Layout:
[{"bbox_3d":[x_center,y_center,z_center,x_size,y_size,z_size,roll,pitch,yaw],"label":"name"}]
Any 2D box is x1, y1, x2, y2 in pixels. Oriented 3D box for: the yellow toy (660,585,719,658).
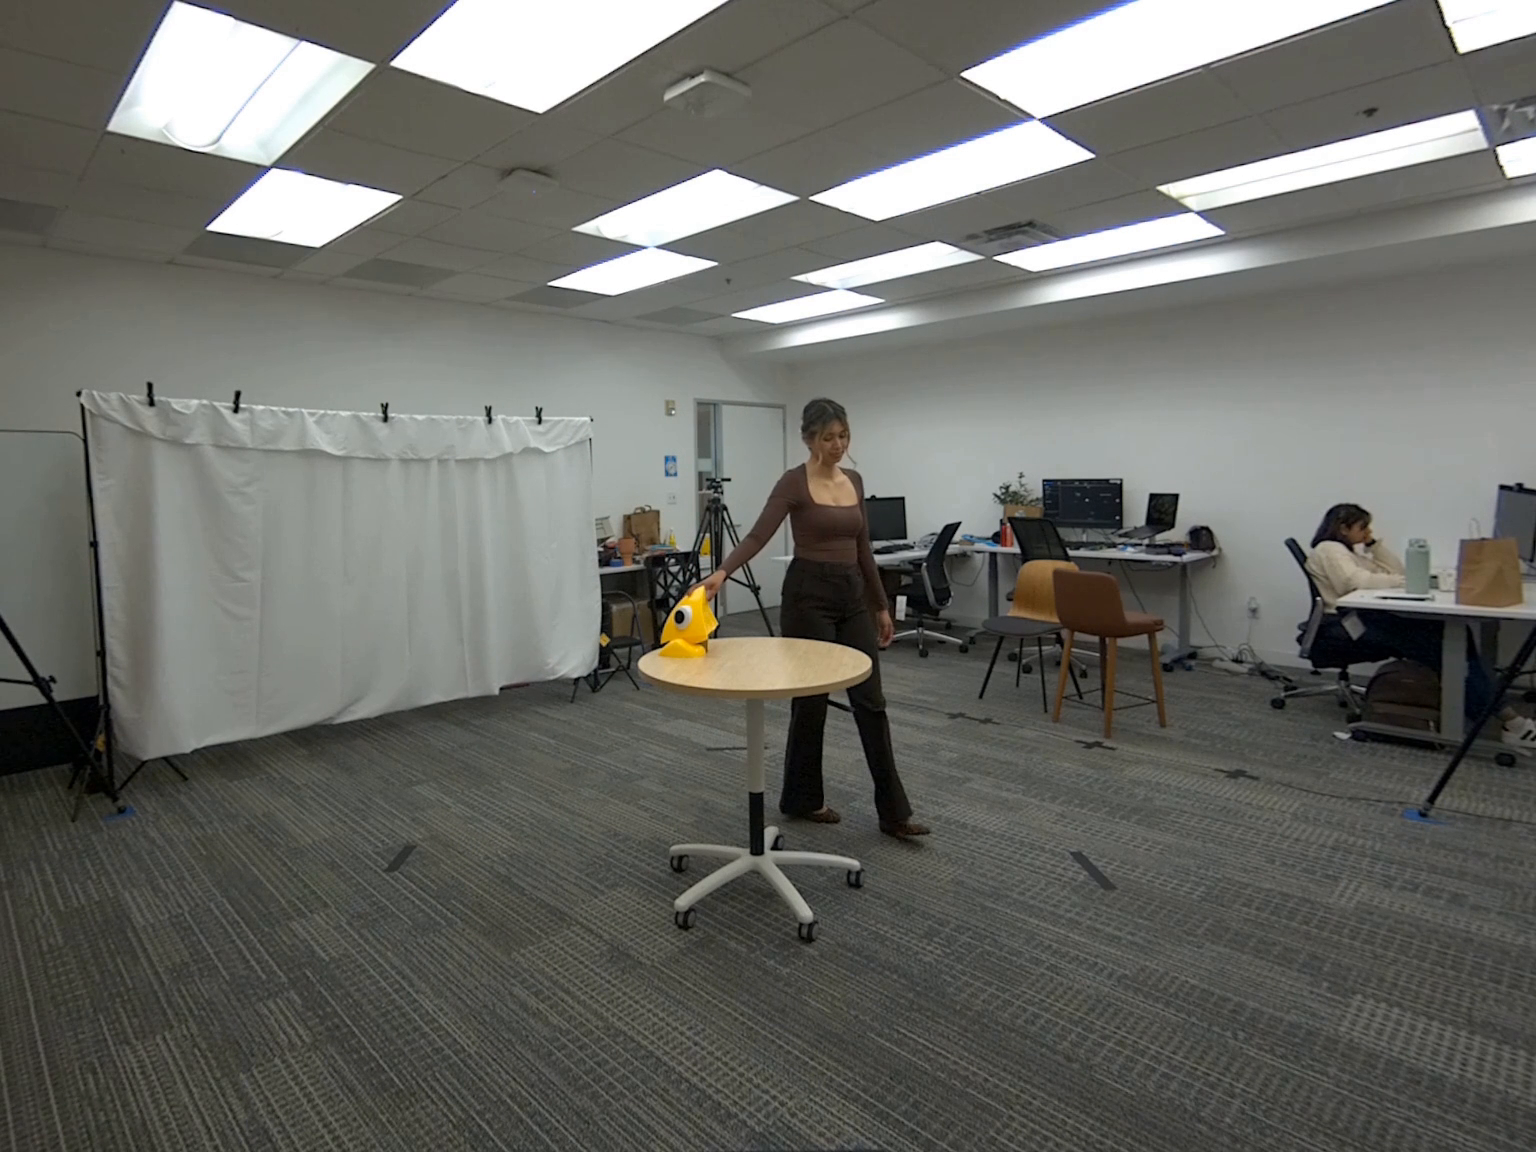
[{"bbox_3d":[-0.280,0.147,2.963,0.195,0.230,0.203,1,5,10],"label":"yellow toy"}]
